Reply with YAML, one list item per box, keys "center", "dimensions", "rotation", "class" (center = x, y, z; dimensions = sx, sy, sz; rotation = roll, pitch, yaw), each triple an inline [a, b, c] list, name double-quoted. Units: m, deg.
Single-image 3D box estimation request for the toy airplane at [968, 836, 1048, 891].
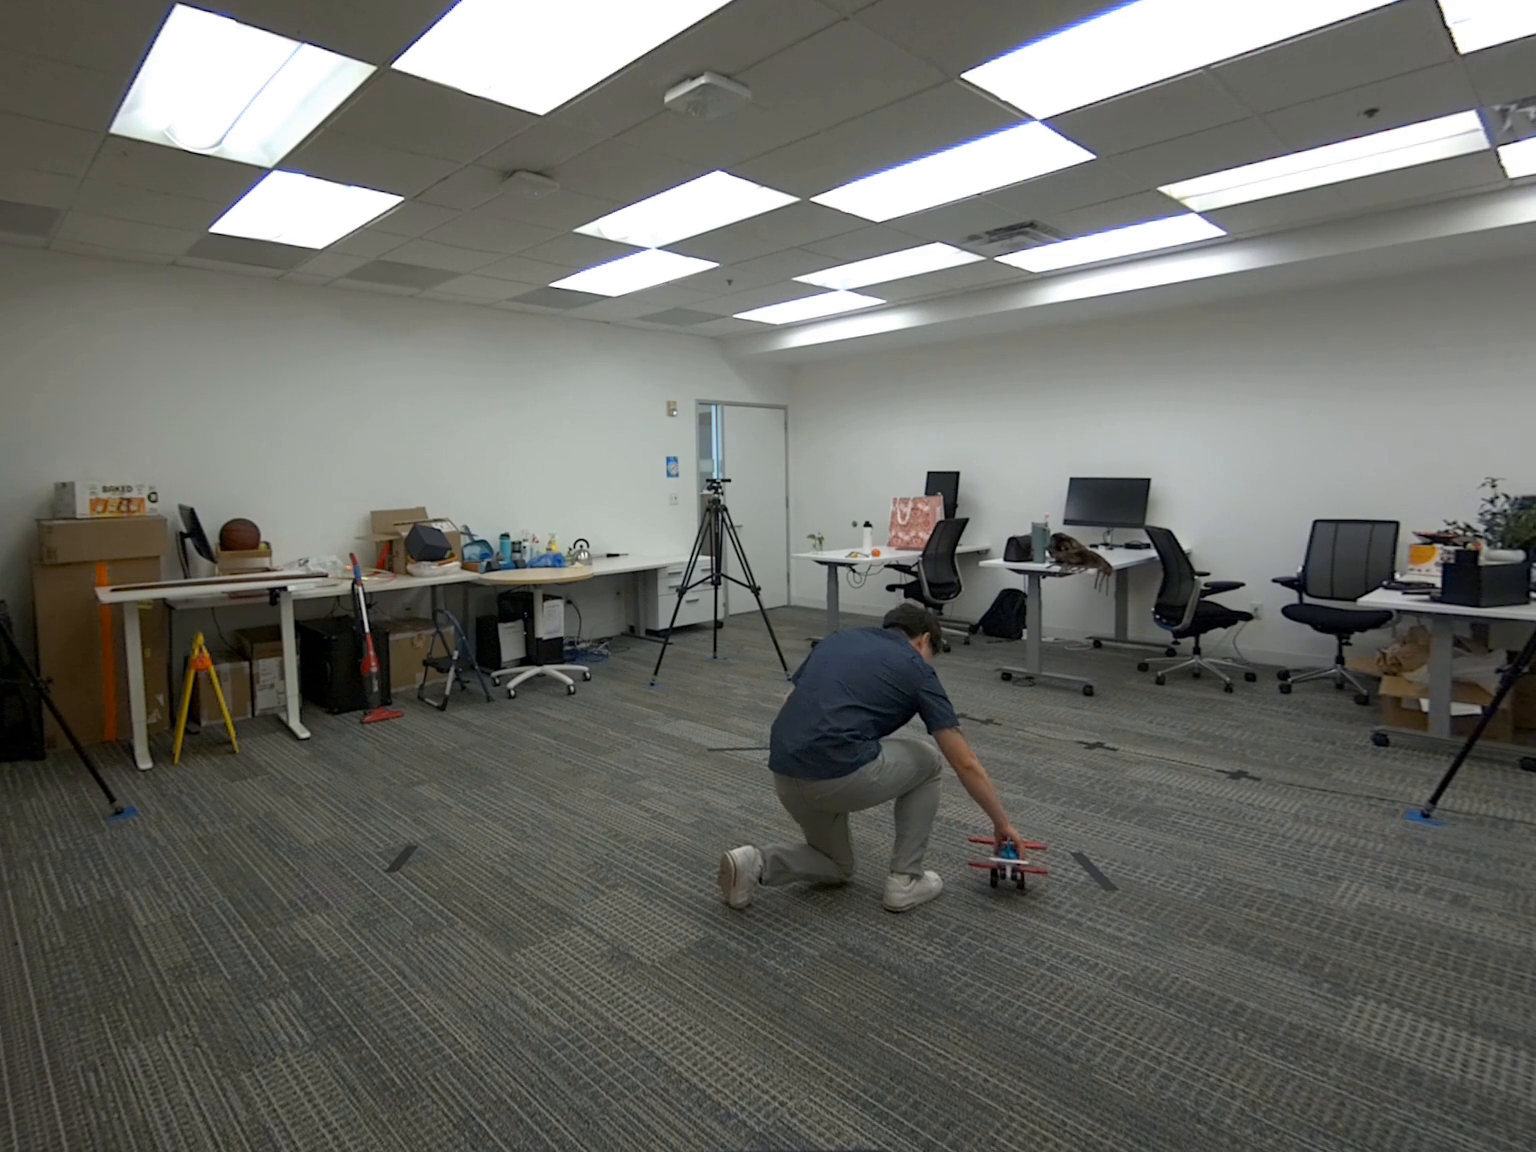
- center: [0.811, 0.947, 2.840]
  dimensions: [0.249, 0.159, 0.257]
  rotation: [13, -26, -9]
  class: "toy airplane"
